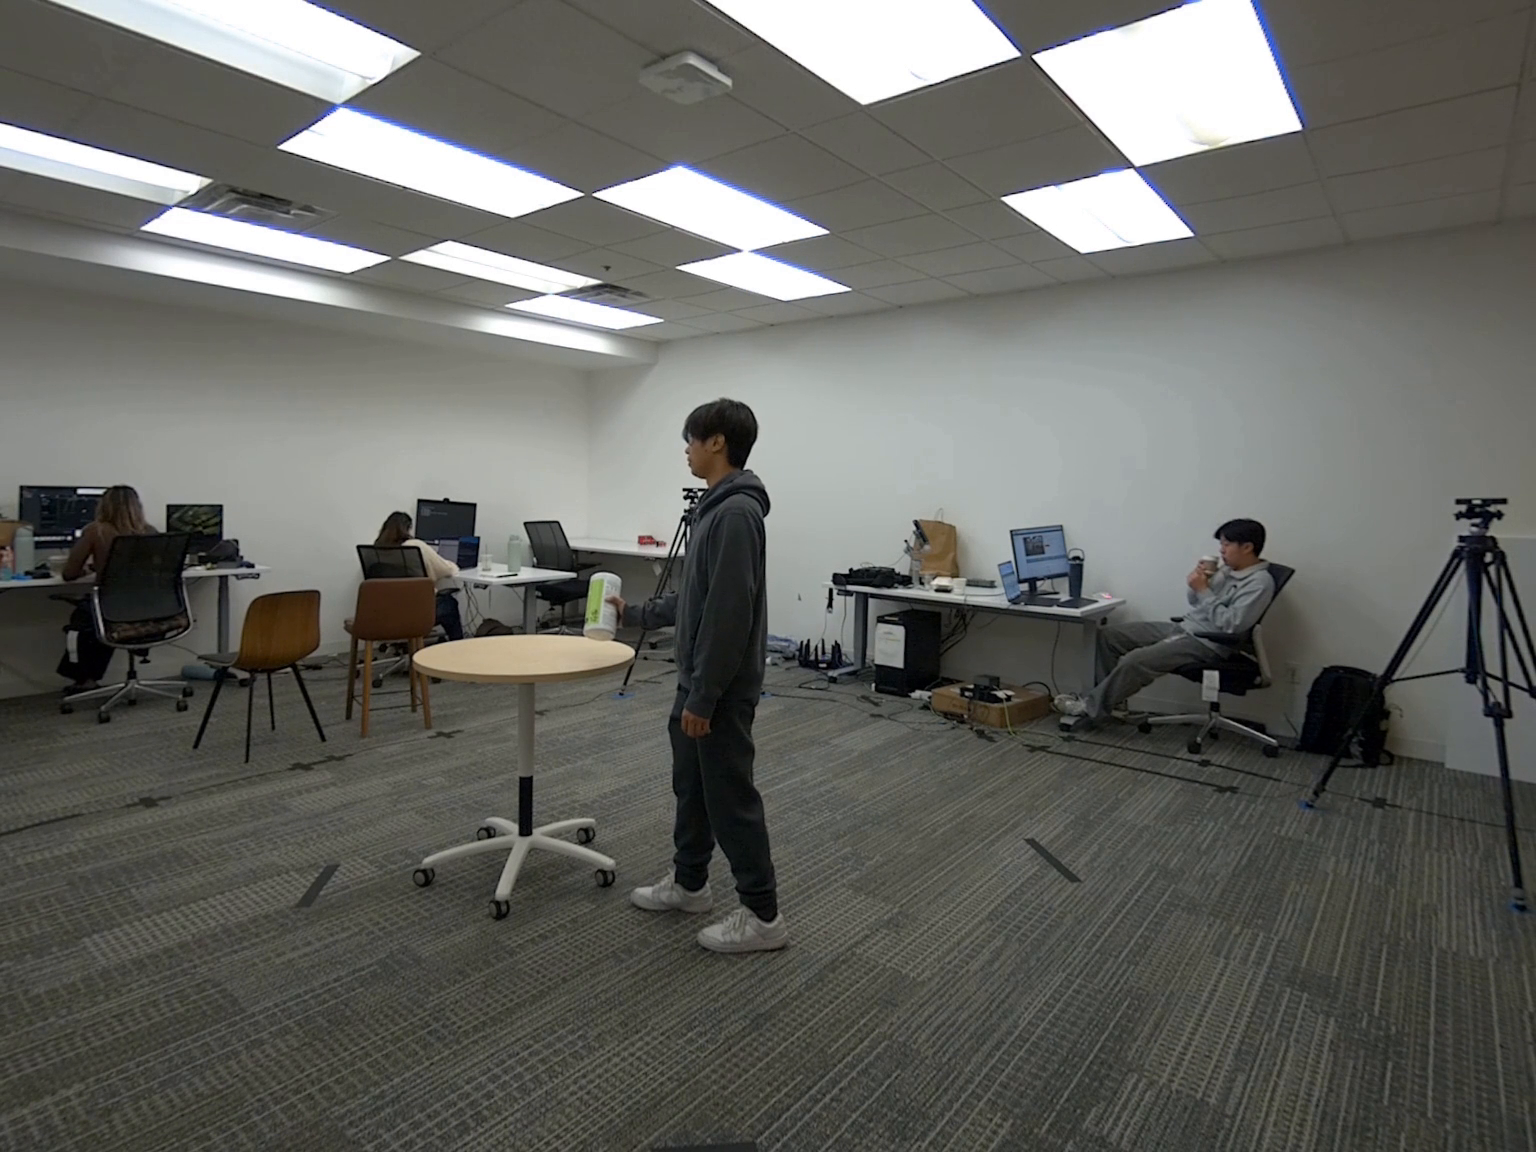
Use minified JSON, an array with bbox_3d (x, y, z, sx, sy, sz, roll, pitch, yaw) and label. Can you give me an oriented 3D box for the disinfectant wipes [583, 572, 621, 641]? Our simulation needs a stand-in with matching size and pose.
[{"bbox_3d":[-0.581,0.103,2.947,0.118,0.223,0.115,1,-28,-1],"label":"disinfectant wipes"}]
